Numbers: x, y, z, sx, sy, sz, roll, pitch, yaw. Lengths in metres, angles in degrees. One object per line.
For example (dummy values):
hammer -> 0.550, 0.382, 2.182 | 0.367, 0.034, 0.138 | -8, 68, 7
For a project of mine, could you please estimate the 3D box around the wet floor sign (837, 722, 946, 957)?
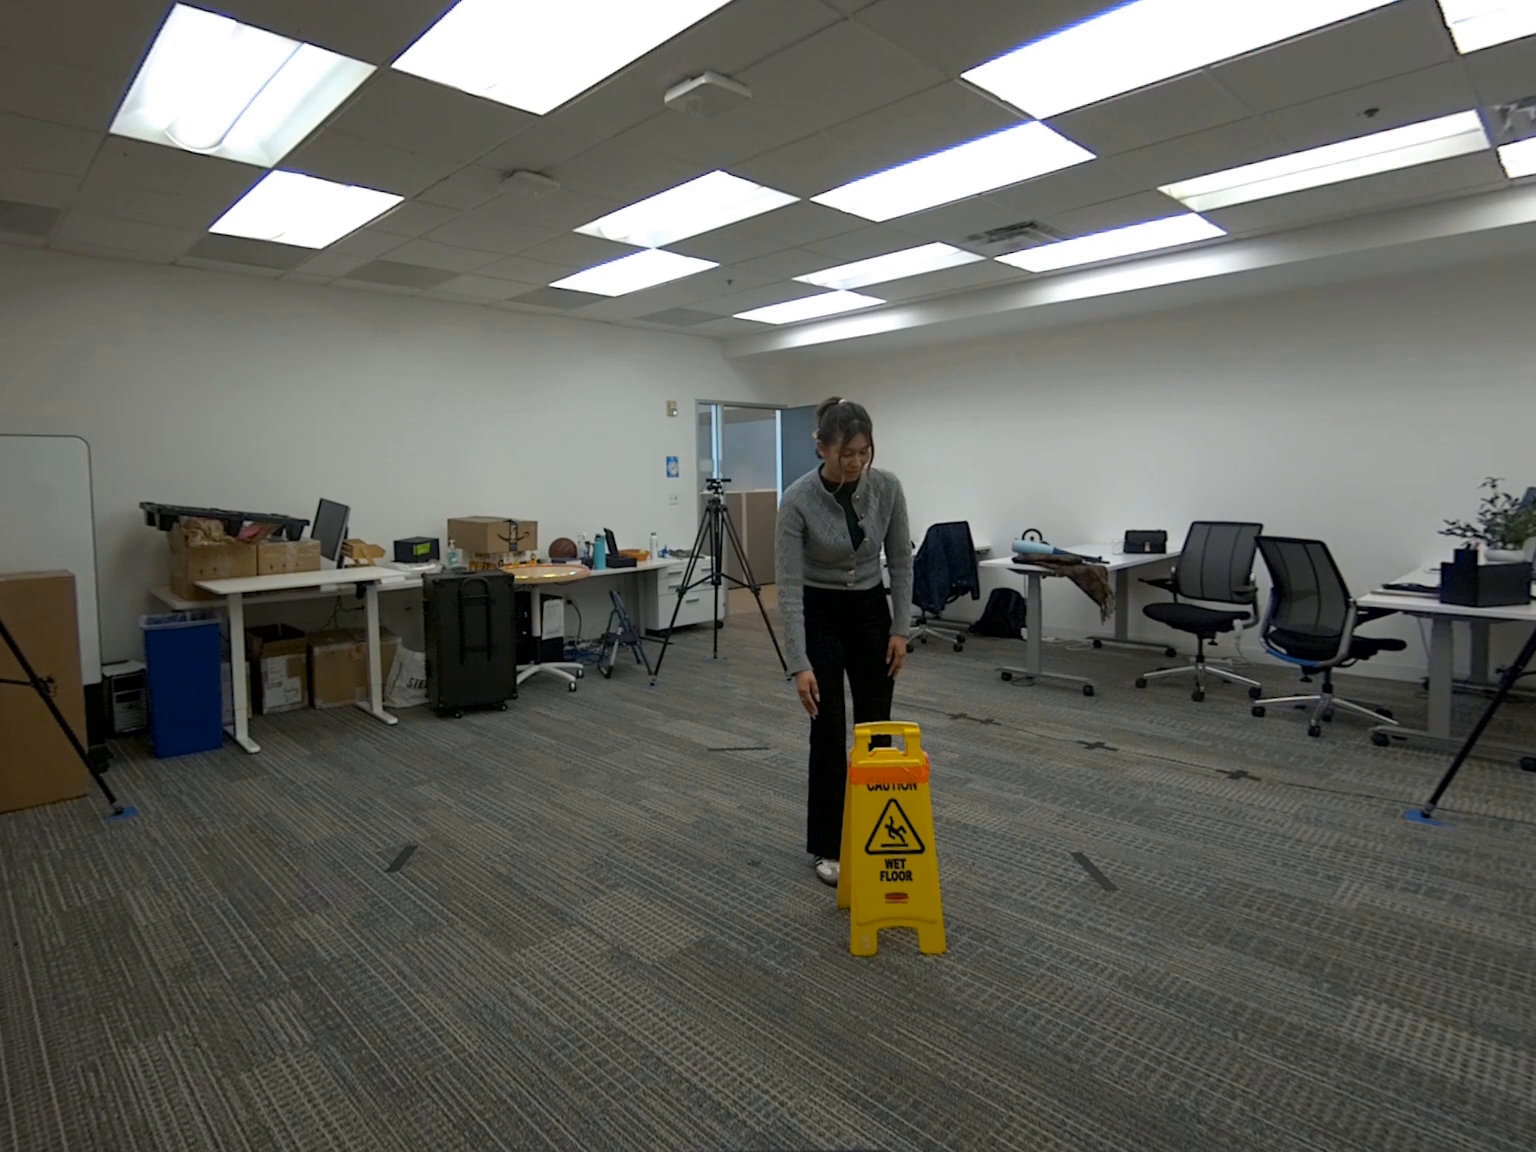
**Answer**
wet floor sign -> 0.357, 0.770, 2.616 | 0.282, 0.643, 0.292 | -3, 5, -2
